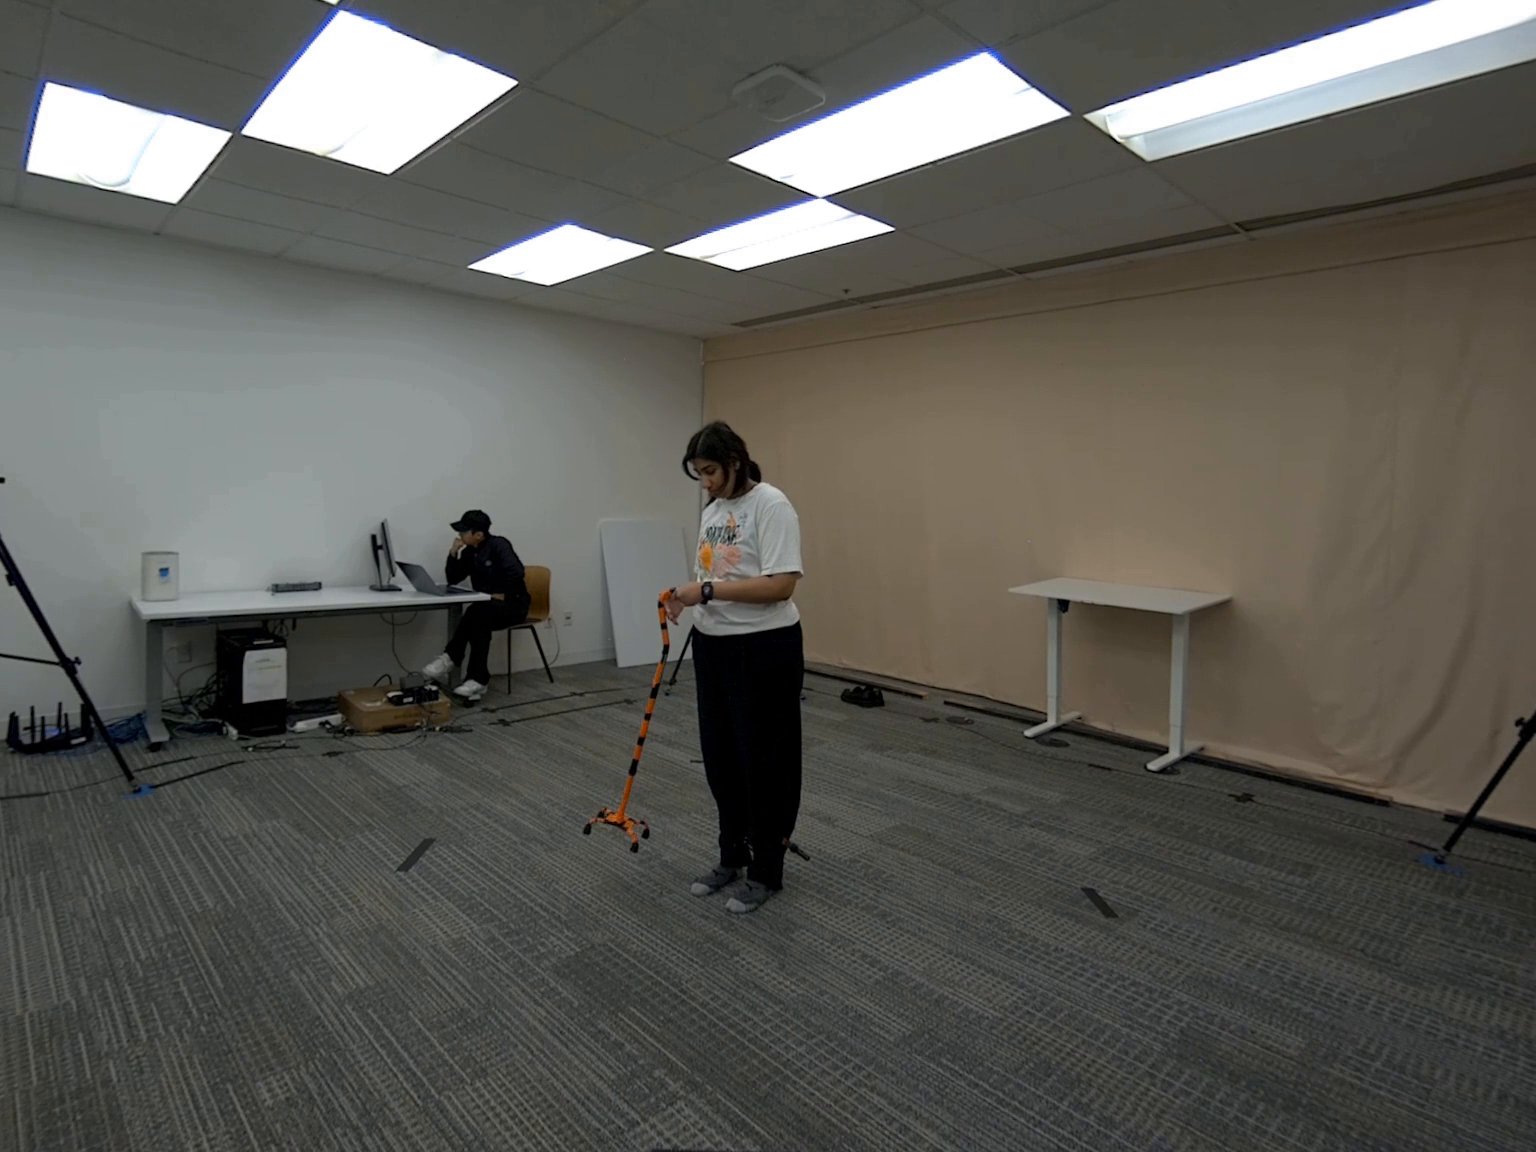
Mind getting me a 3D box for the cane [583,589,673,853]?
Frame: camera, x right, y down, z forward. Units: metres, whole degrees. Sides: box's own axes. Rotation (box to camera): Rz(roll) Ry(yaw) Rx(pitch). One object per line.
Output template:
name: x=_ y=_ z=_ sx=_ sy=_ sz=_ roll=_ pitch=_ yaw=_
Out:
cane: x=-0.417 y=0.474 z=2.877 sx=0.208 sy=0.905 sz=0.151 roll=16 pitch=7 yaw=8
